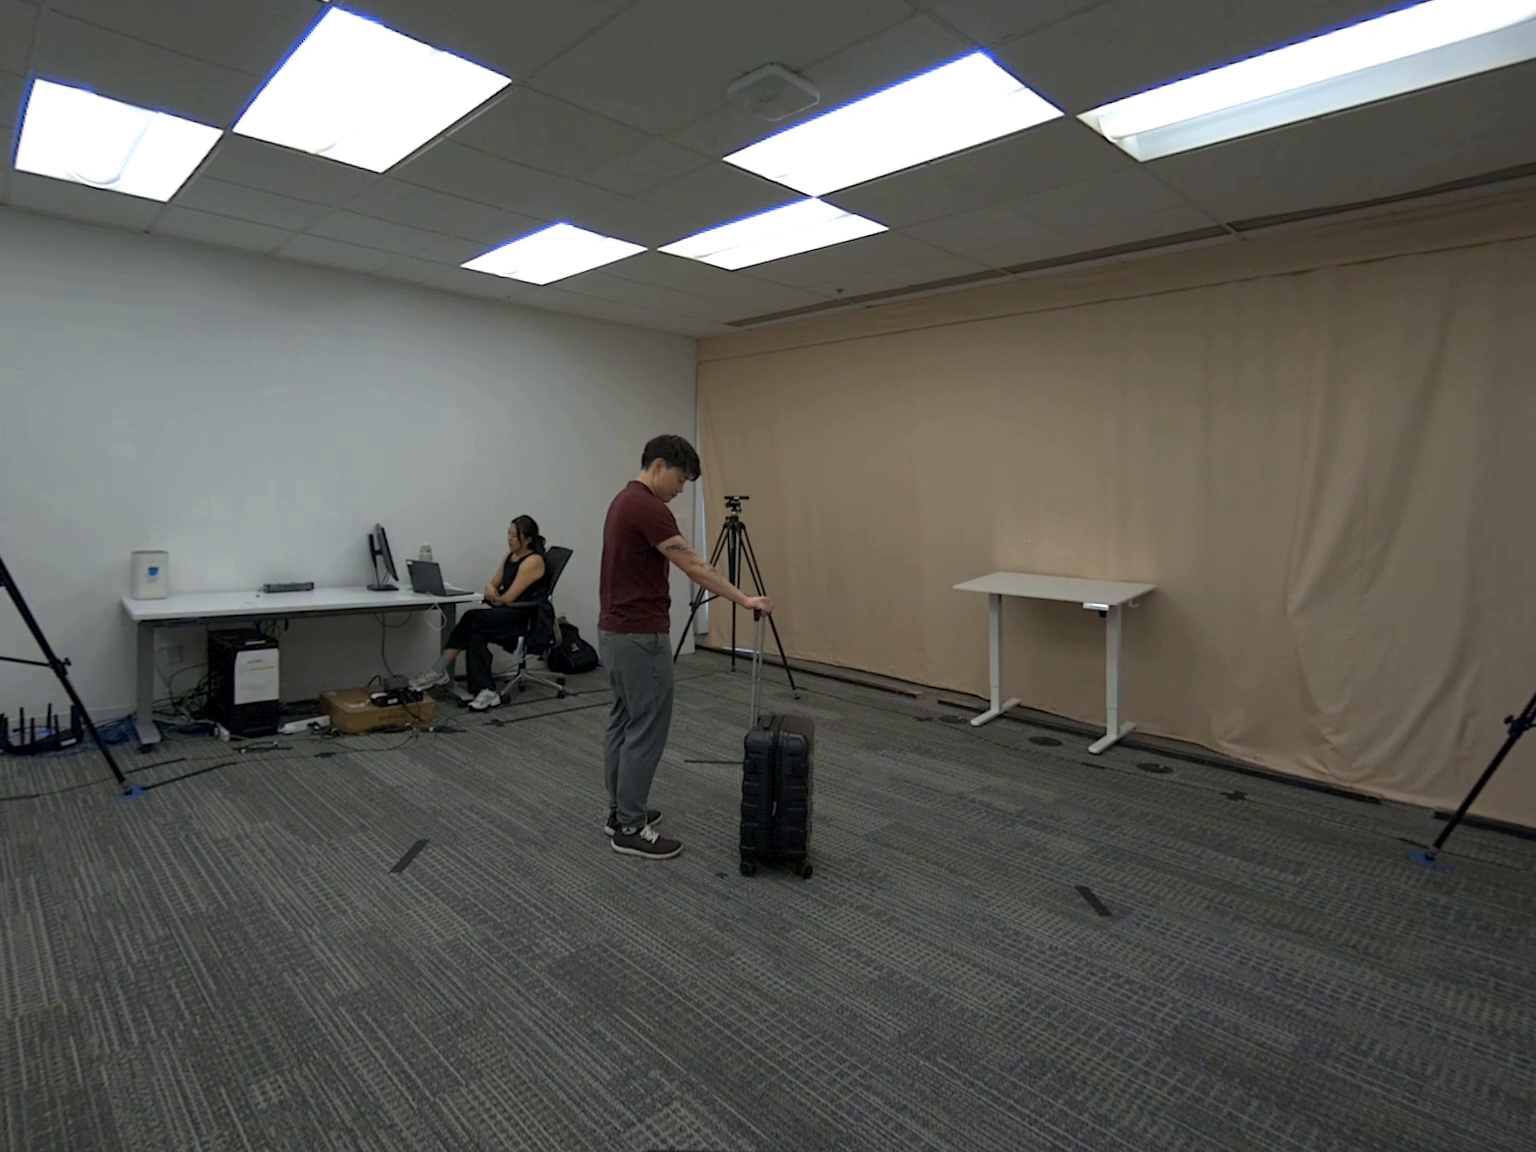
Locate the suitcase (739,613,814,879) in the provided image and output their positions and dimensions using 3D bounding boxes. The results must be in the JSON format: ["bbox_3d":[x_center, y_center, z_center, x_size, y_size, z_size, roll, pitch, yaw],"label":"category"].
[{"bbox_3d":[0.036,0.622,3.228,0.258,0.977,0.383,3,3,3],"label":"suitcase"}]
